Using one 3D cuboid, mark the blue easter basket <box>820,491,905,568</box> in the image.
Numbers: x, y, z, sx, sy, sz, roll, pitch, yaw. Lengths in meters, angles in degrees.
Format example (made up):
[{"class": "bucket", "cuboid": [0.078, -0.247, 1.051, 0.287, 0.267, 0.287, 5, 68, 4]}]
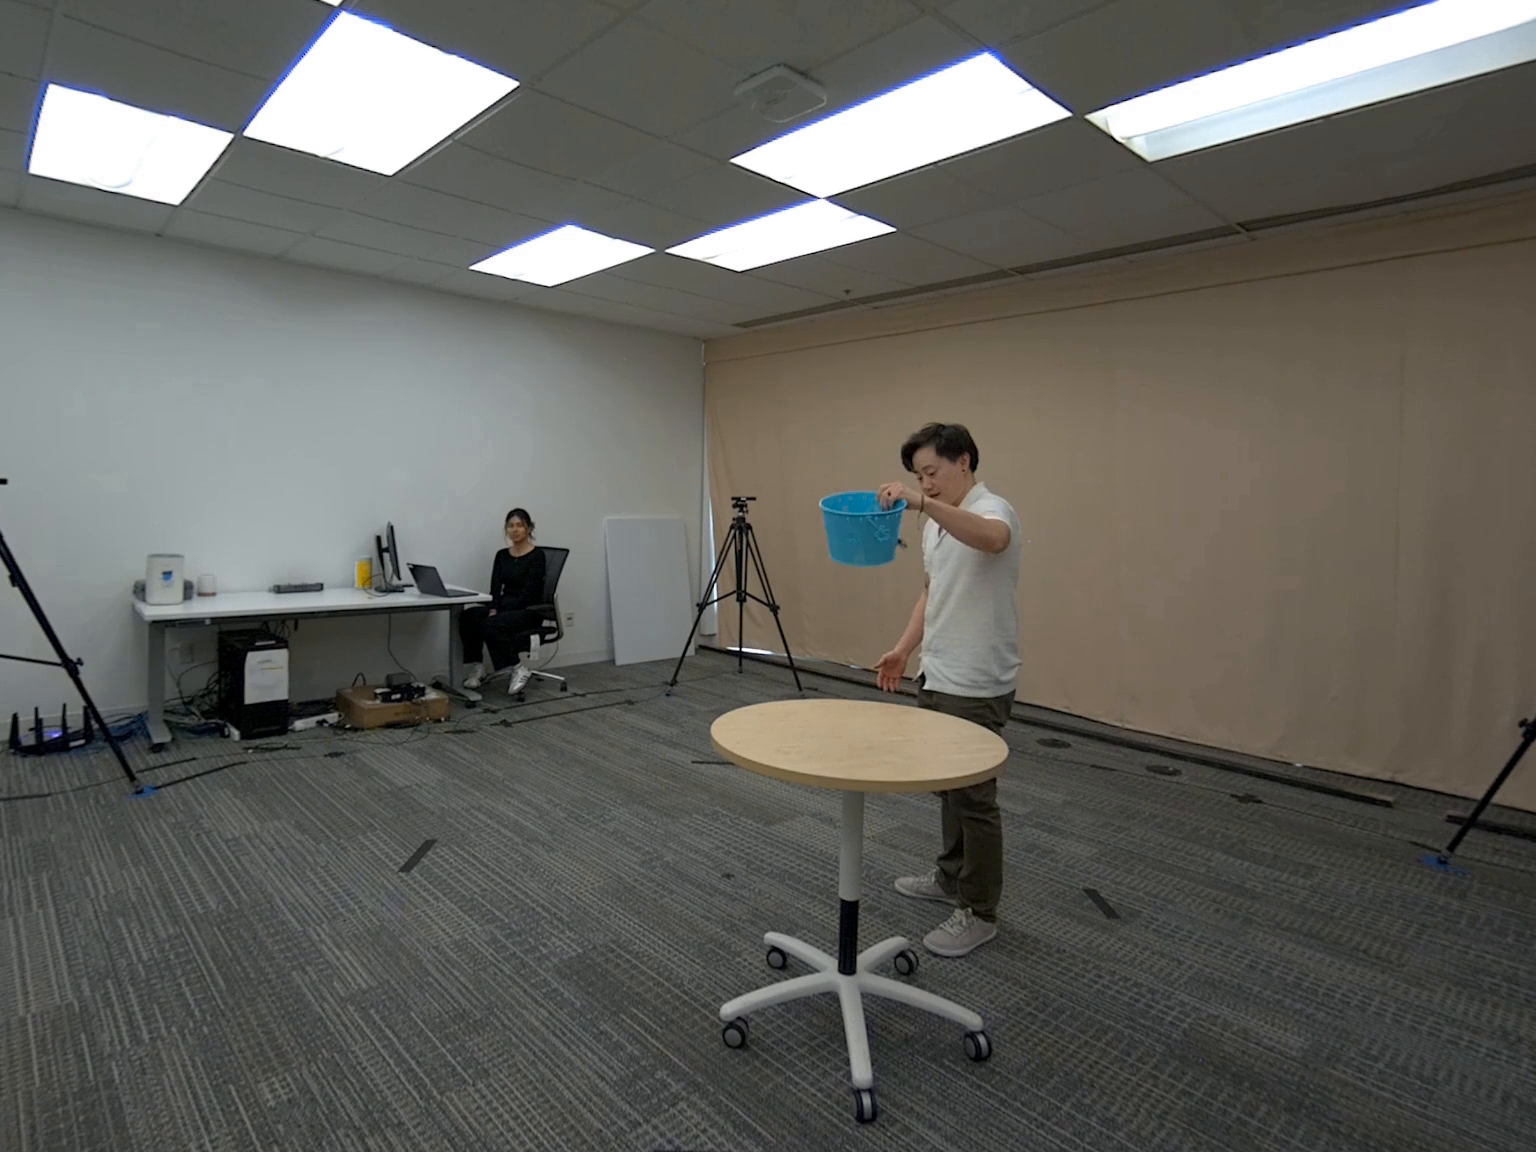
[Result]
[{"class": "blue easter basket", "cuboid": [0.267, -0.129, 2.288, 0.243, 0.154, 0.247, -1, 19, -1]}]
